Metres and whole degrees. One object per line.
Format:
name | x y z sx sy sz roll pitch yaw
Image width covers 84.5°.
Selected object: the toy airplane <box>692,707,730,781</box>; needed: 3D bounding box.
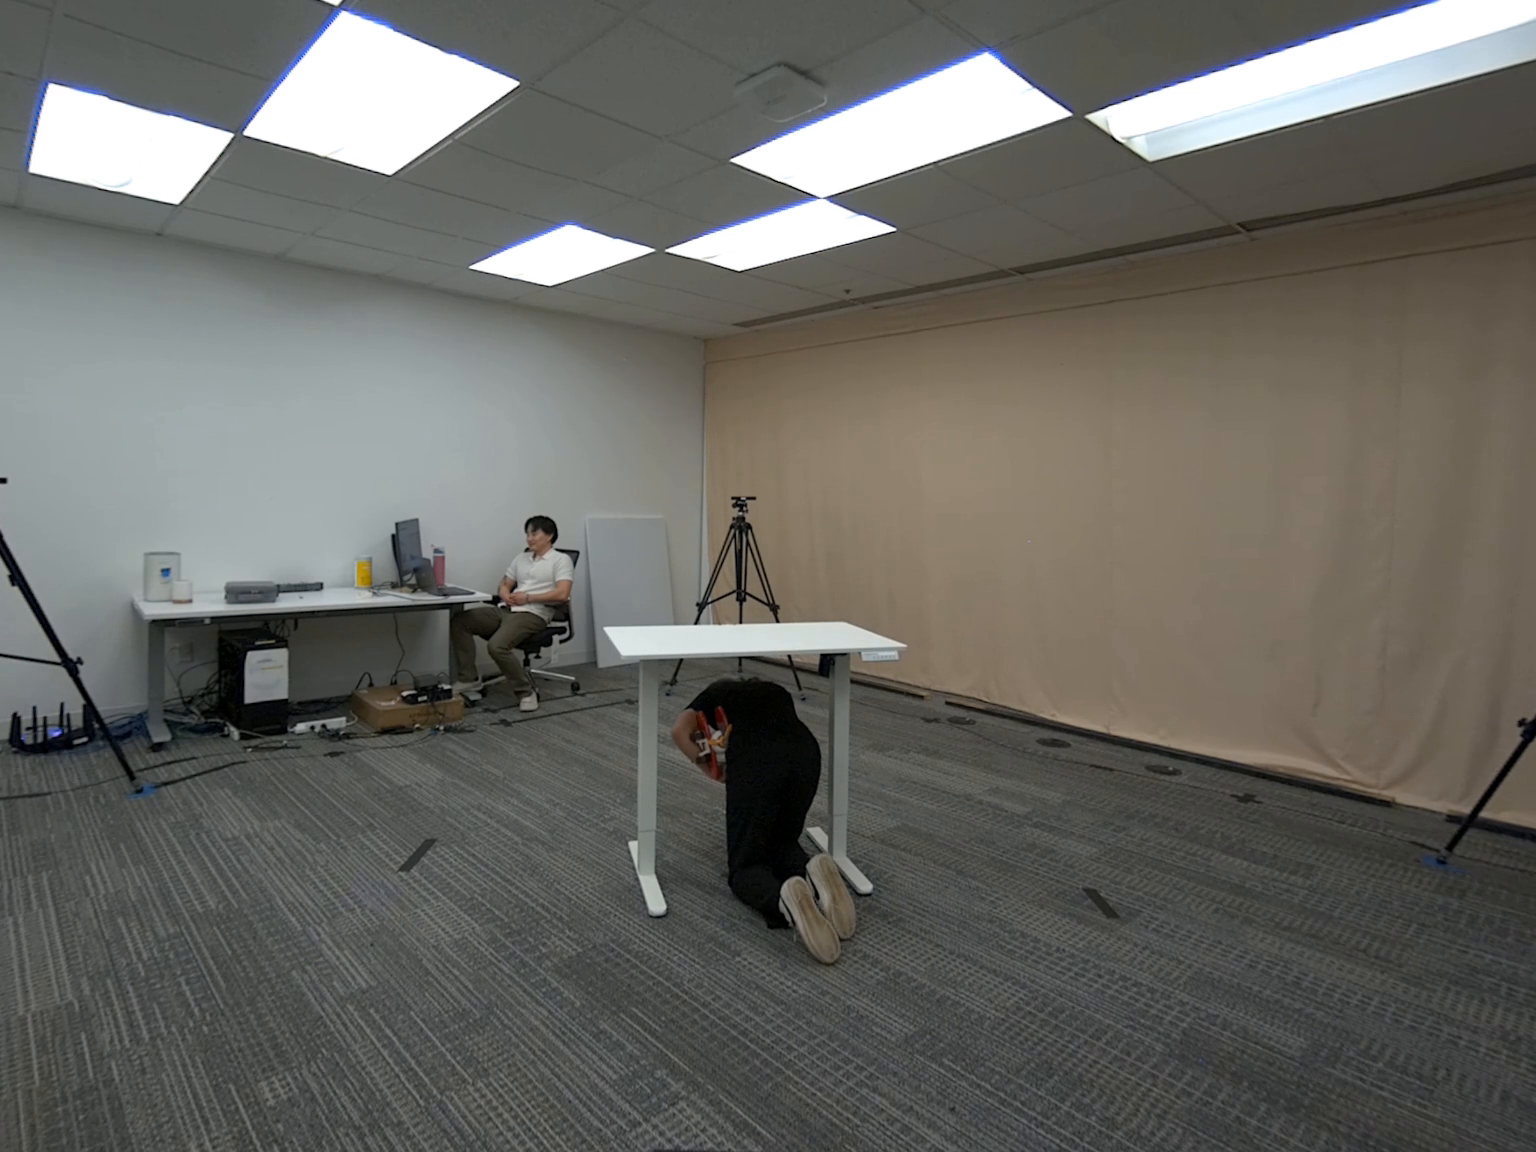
toy airplane | -0.228 0.609 3.179 0.155 0.248 0.264 -12 15 -12
